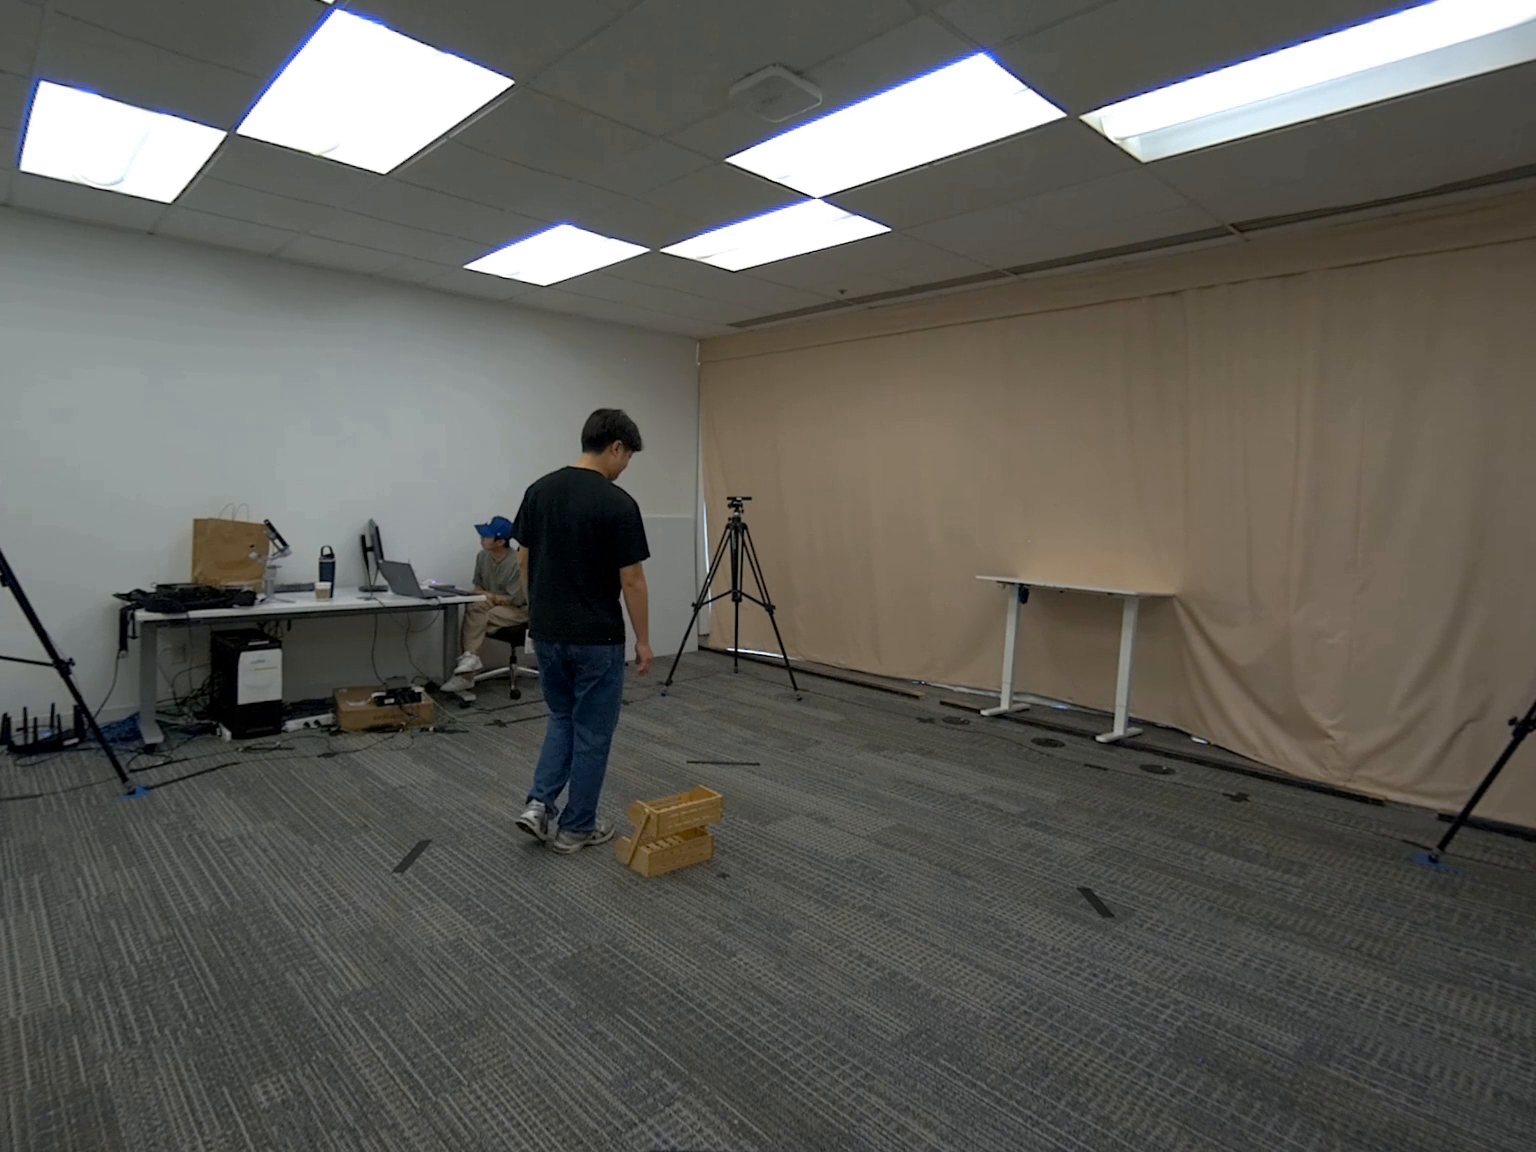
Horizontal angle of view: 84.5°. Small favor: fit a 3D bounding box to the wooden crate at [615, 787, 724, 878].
[{"bbox_3d":[-0.392,0.959,3.229,0.317,0.272,0.310,-3,7,-40],"label":"wooden crate"}]
